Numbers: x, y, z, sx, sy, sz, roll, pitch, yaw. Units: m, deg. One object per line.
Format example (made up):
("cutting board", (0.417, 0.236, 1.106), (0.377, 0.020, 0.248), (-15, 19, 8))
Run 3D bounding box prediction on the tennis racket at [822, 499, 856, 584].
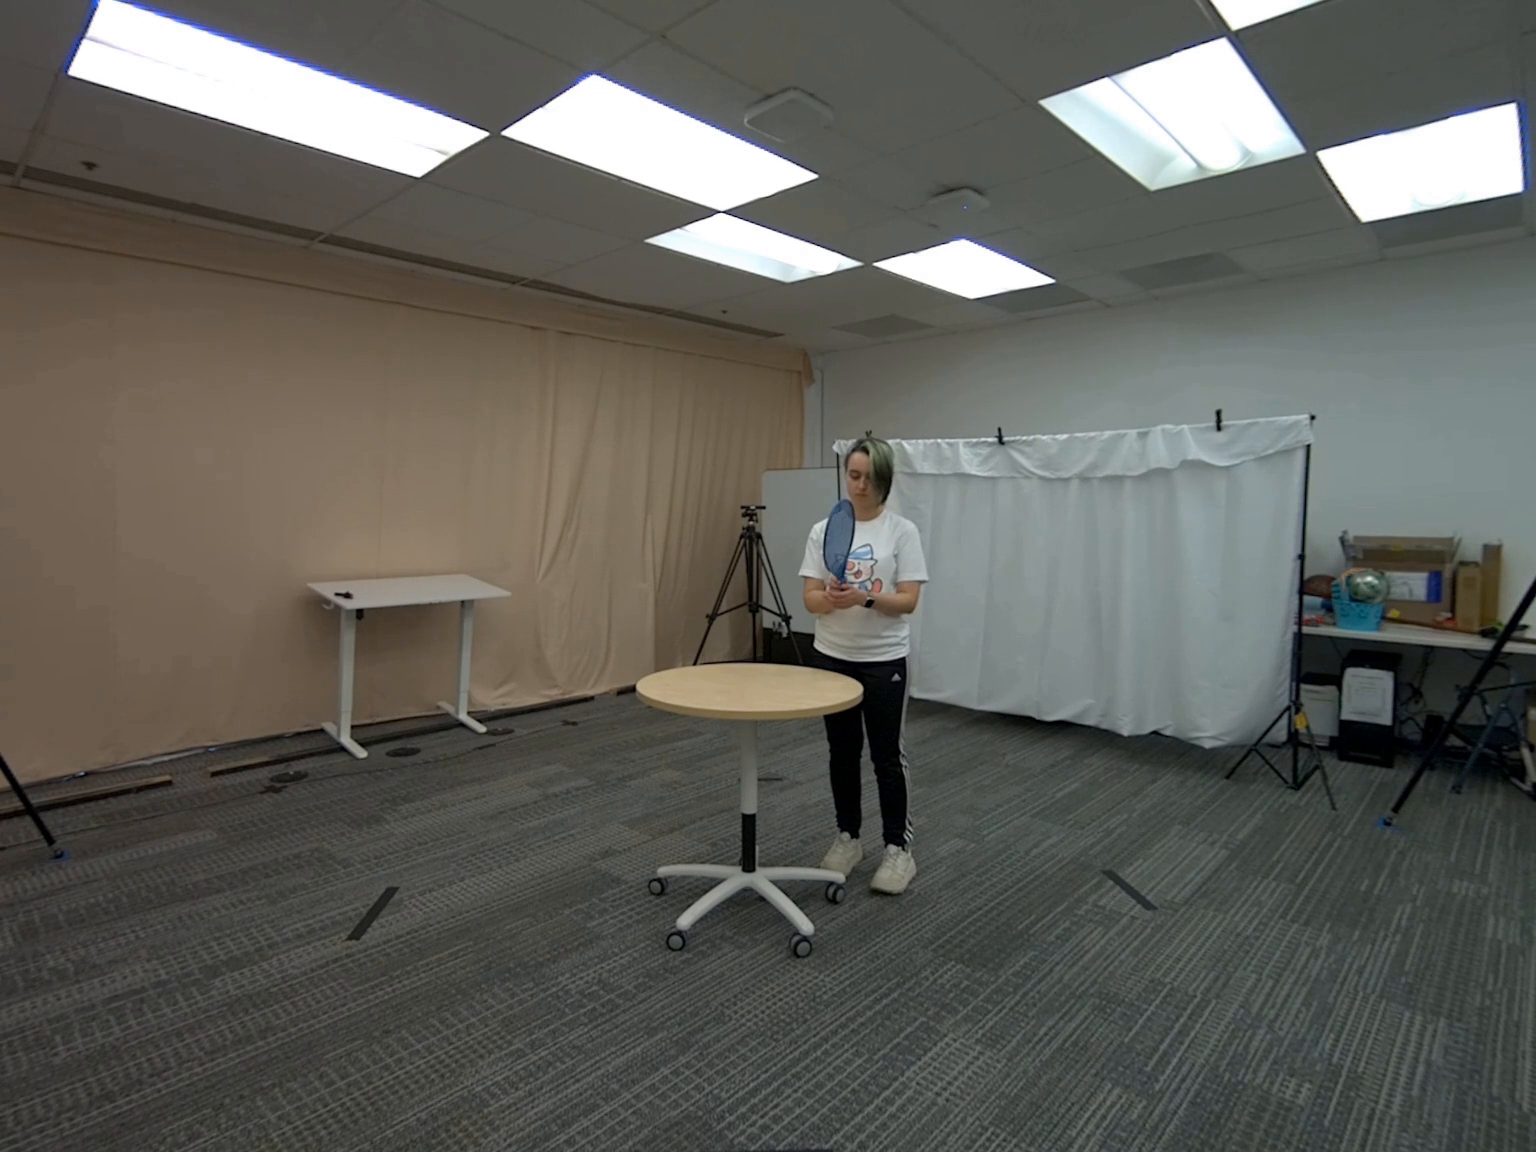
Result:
("tennis racket", (0.253, -0.063, 2.837), (0.033, 0.422, 0.212), (17, 47, 31))
